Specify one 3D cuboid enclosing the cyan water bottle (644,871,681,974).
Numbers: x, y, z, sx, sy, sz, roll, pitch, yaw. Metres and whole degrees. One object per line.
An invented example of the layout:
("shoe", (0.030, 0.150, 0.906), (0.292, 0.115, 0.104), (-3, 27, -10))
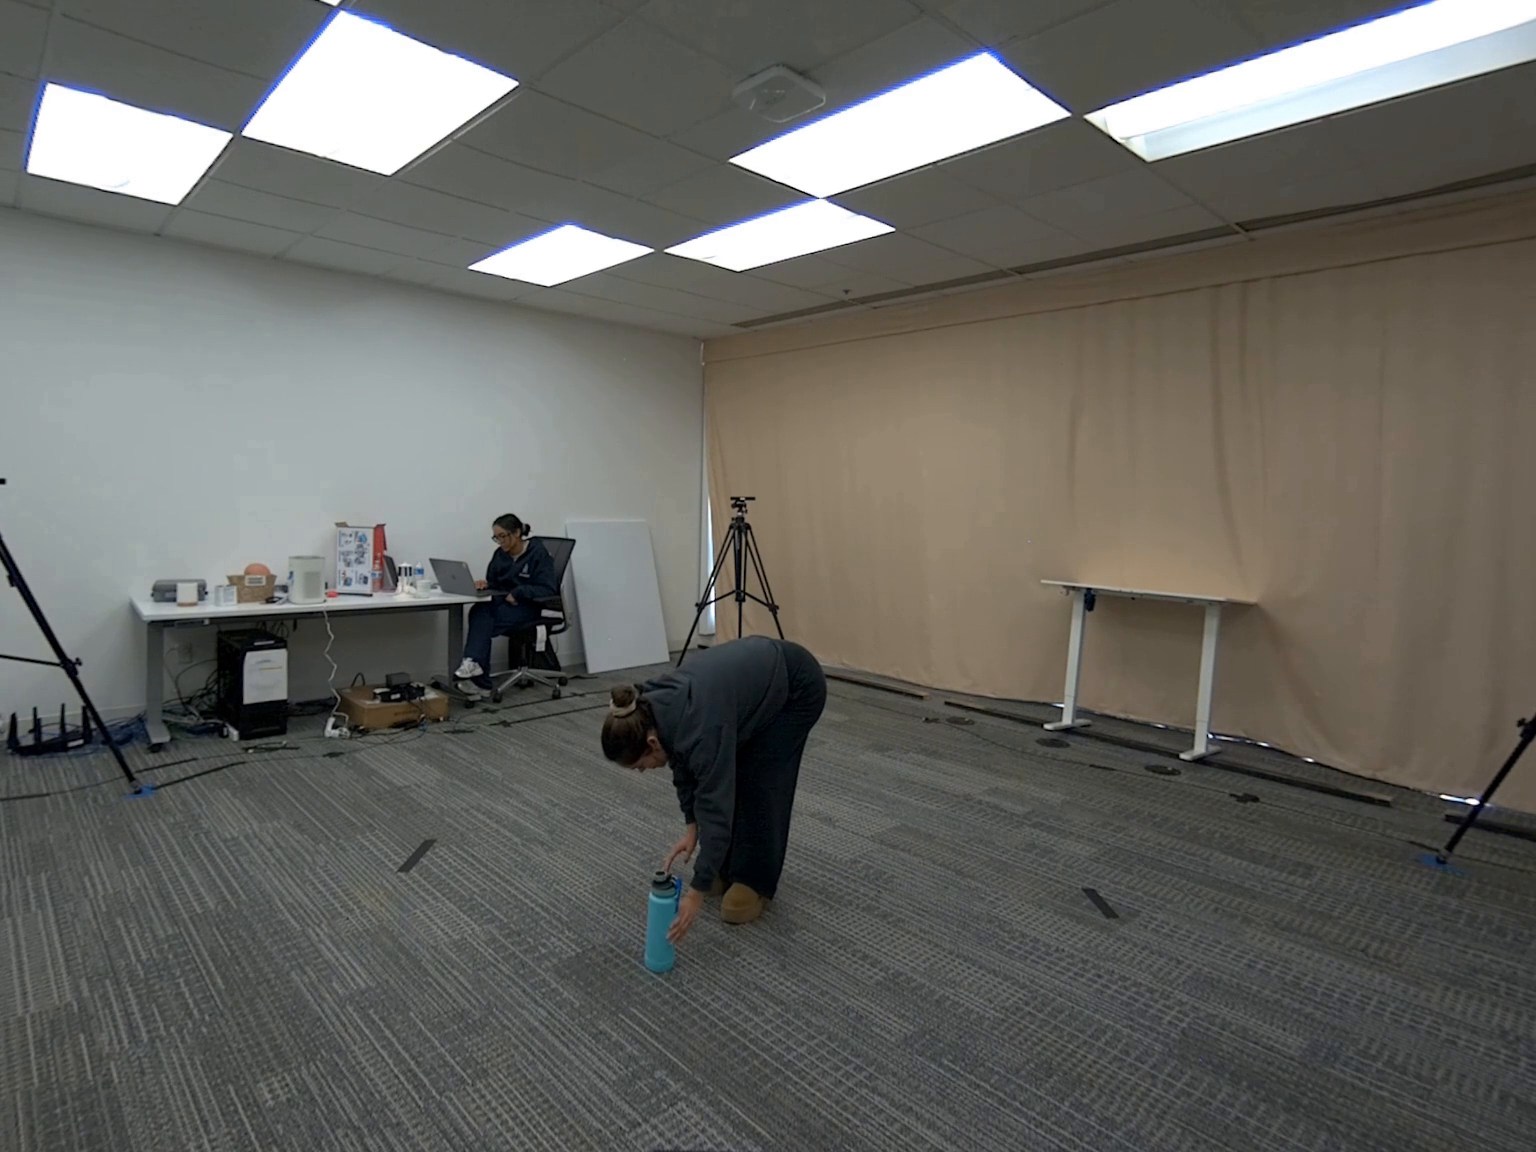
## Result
("cyan water bottle", (-0.327, 1.021, 2.496), (0.092, 0.282, 0.093), (5, 6, -2))
